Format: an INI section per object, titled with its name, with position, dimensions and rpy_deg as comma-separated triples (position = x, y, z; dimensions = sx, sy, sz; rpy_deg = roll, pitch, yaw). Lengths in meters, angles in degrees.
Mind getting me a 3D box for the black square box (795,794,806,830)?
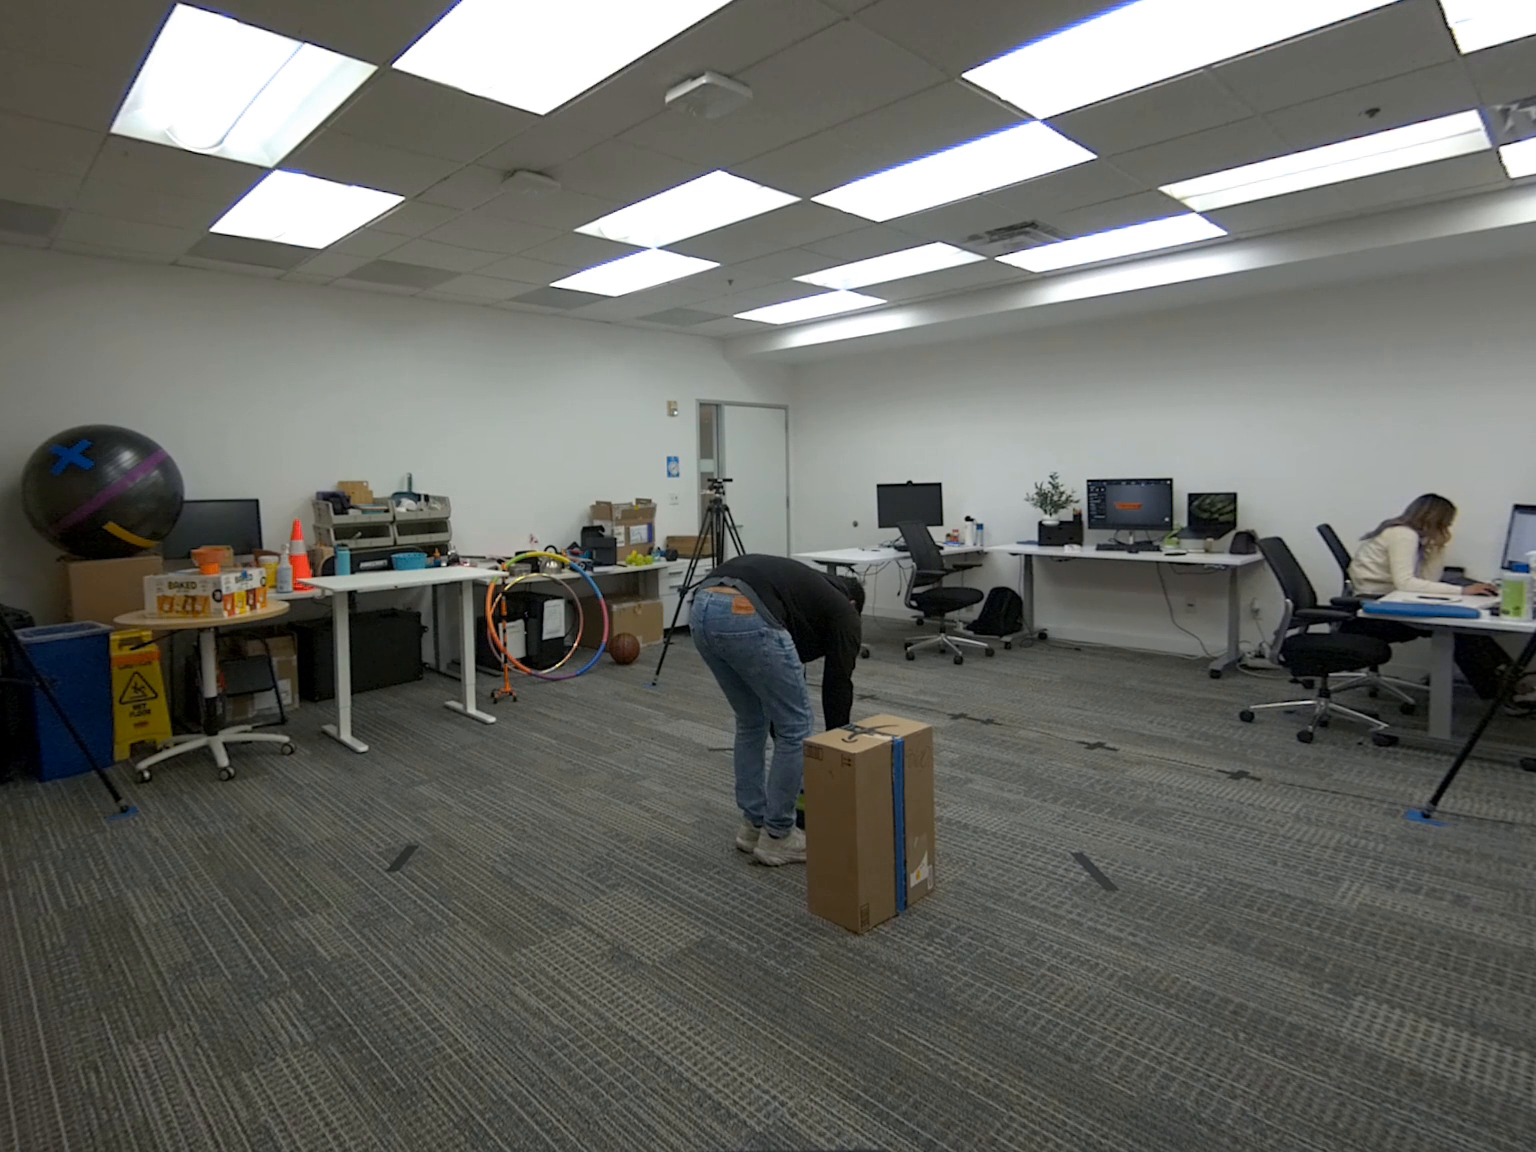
[black square box]
position = 0.248, 0.907, 3.457
dimensions = 0.235, 0.155, 0.211
rpy_deg = 4, 6, 41
